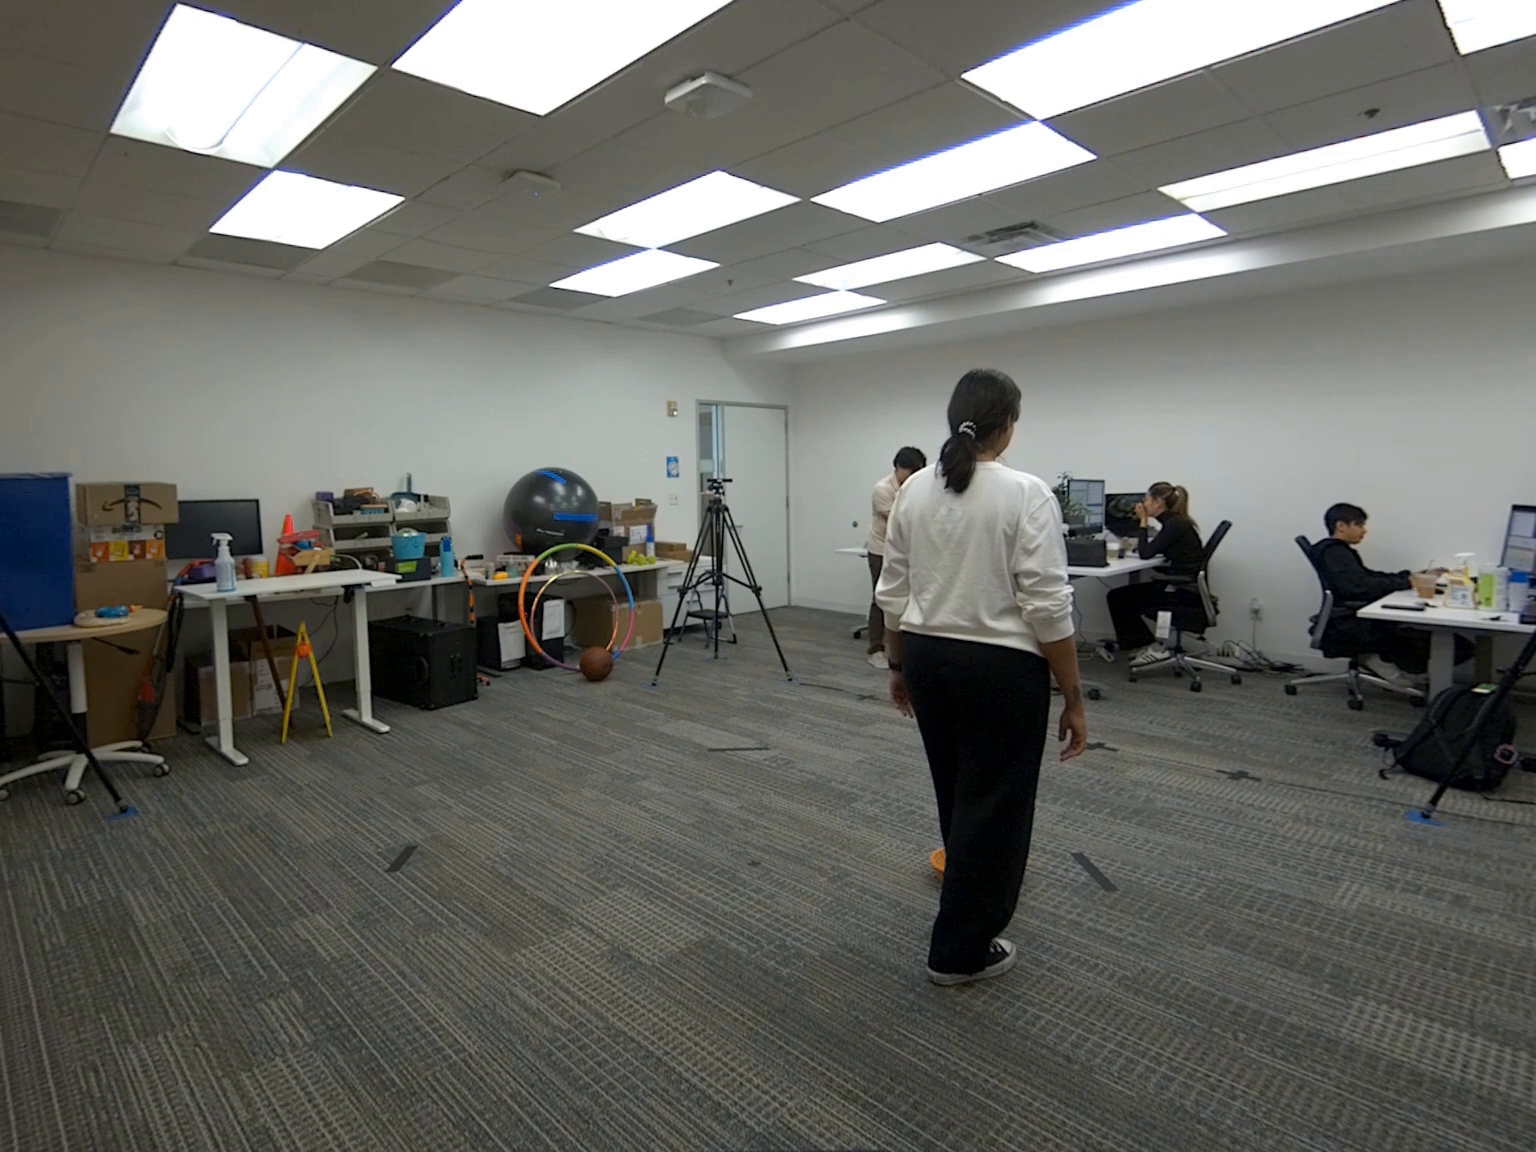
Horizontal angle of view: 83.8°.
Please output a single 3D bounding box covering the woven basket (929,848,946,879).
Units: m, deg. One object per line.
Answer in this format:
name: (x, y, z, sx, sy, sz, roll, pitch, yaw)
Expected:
woven basket: (0.736, 1.008, 2.971, 0.344, 0.073, 0.257, -3, 4, -20)
